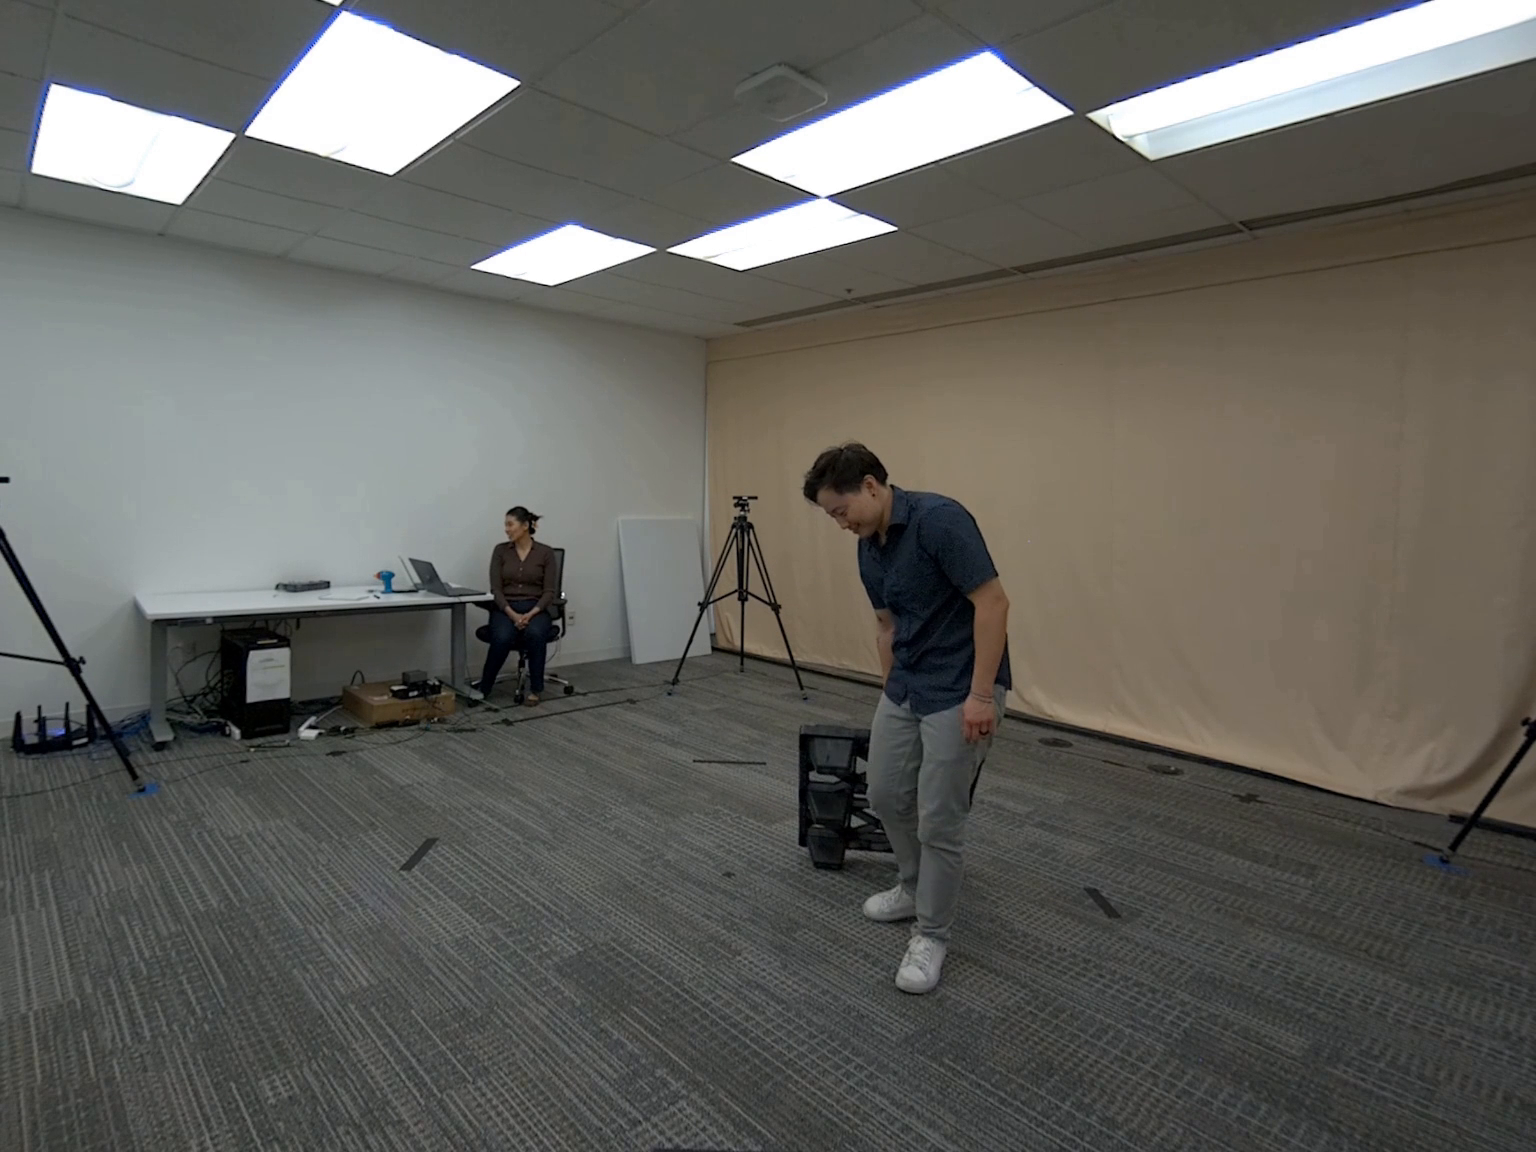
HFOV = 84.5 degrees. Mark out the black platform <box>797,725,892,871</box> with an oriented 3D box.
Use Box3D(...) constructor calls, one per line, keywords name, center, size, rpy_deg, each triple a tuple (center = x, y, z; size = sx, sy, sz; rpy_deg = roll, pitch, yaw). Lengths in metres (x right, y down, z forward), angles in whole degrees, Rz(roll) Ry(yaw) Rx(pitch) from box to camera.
Box3D(name="black platform", center=(0.405, 0.814, 2.942), size=(0.608, 0.787, 0.146), rpy_deg=(3, 46, 5))
